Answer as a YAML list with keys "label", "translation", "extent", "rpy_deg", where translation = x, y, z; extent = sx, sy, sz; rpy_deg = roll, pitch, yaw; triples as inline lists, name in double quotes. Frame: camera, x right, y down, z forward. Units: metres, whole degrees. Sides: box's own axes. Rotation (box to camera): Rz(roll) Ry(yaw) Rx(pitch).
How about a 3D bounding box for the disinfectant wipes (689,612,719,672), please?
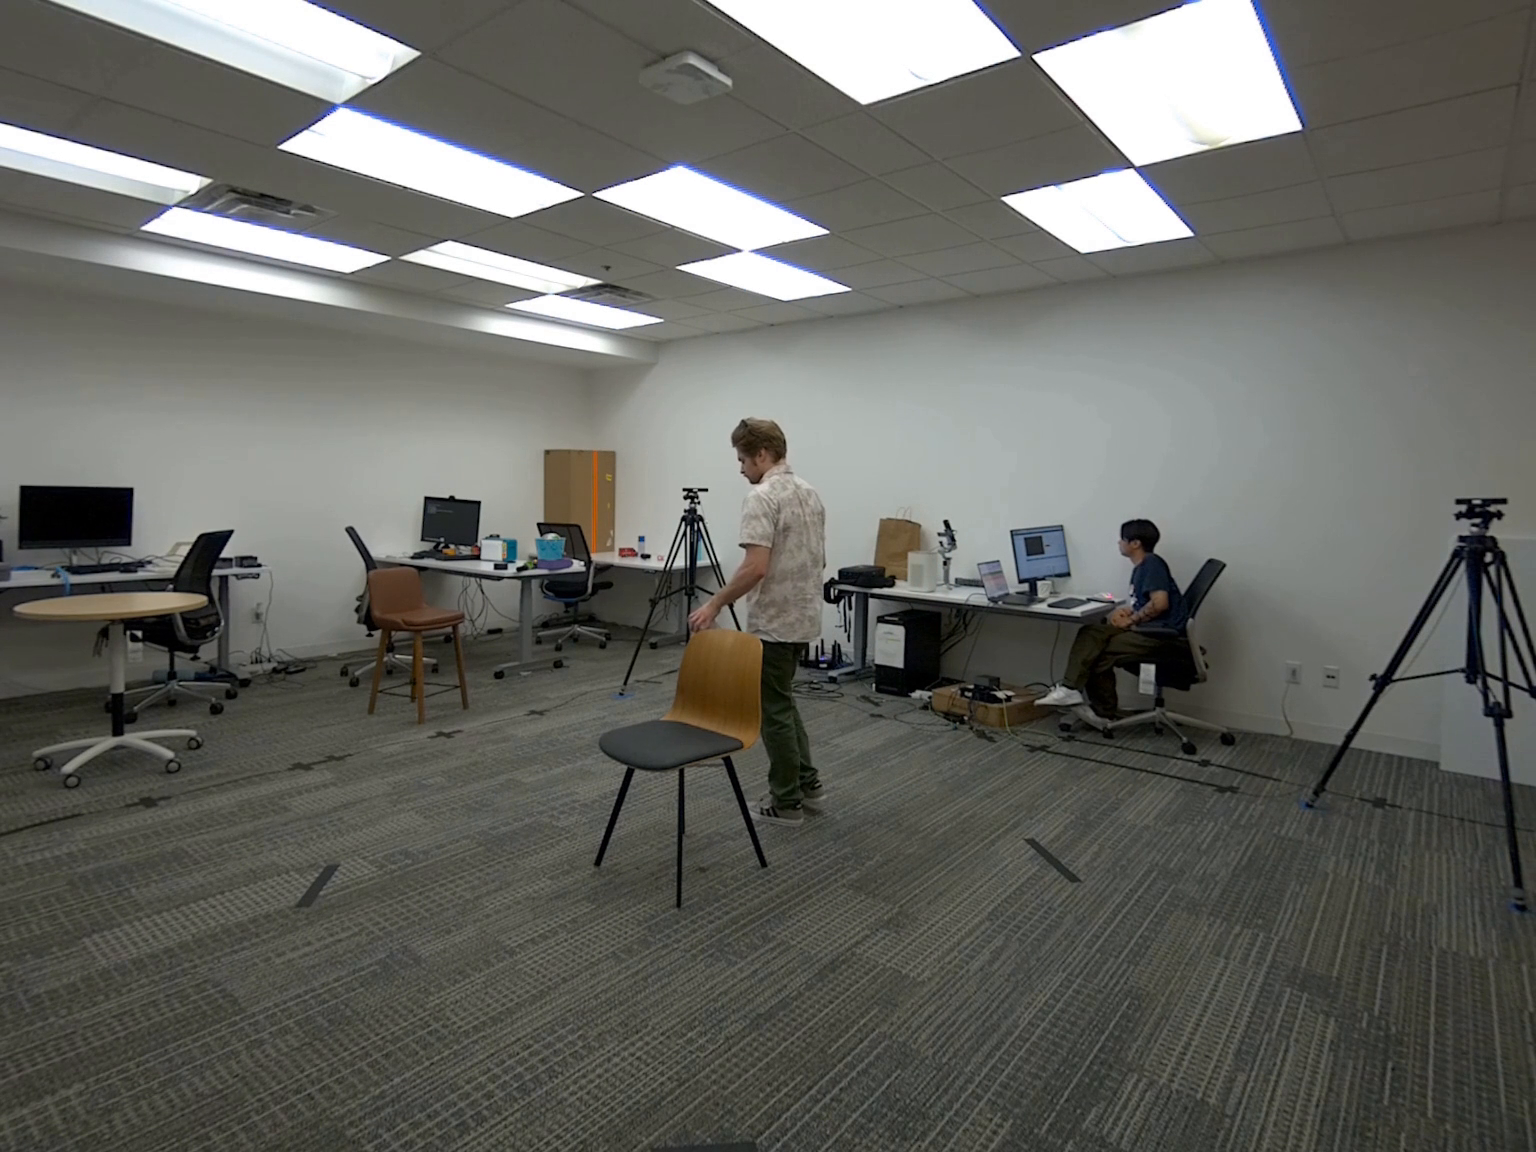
- label: "disinfectant wipes"
  translation: [-0.271, 0.275, 3.528]
  extent: [0.117, 0.212, 0.121]
  rpy_deg: [1, 29, -3]
